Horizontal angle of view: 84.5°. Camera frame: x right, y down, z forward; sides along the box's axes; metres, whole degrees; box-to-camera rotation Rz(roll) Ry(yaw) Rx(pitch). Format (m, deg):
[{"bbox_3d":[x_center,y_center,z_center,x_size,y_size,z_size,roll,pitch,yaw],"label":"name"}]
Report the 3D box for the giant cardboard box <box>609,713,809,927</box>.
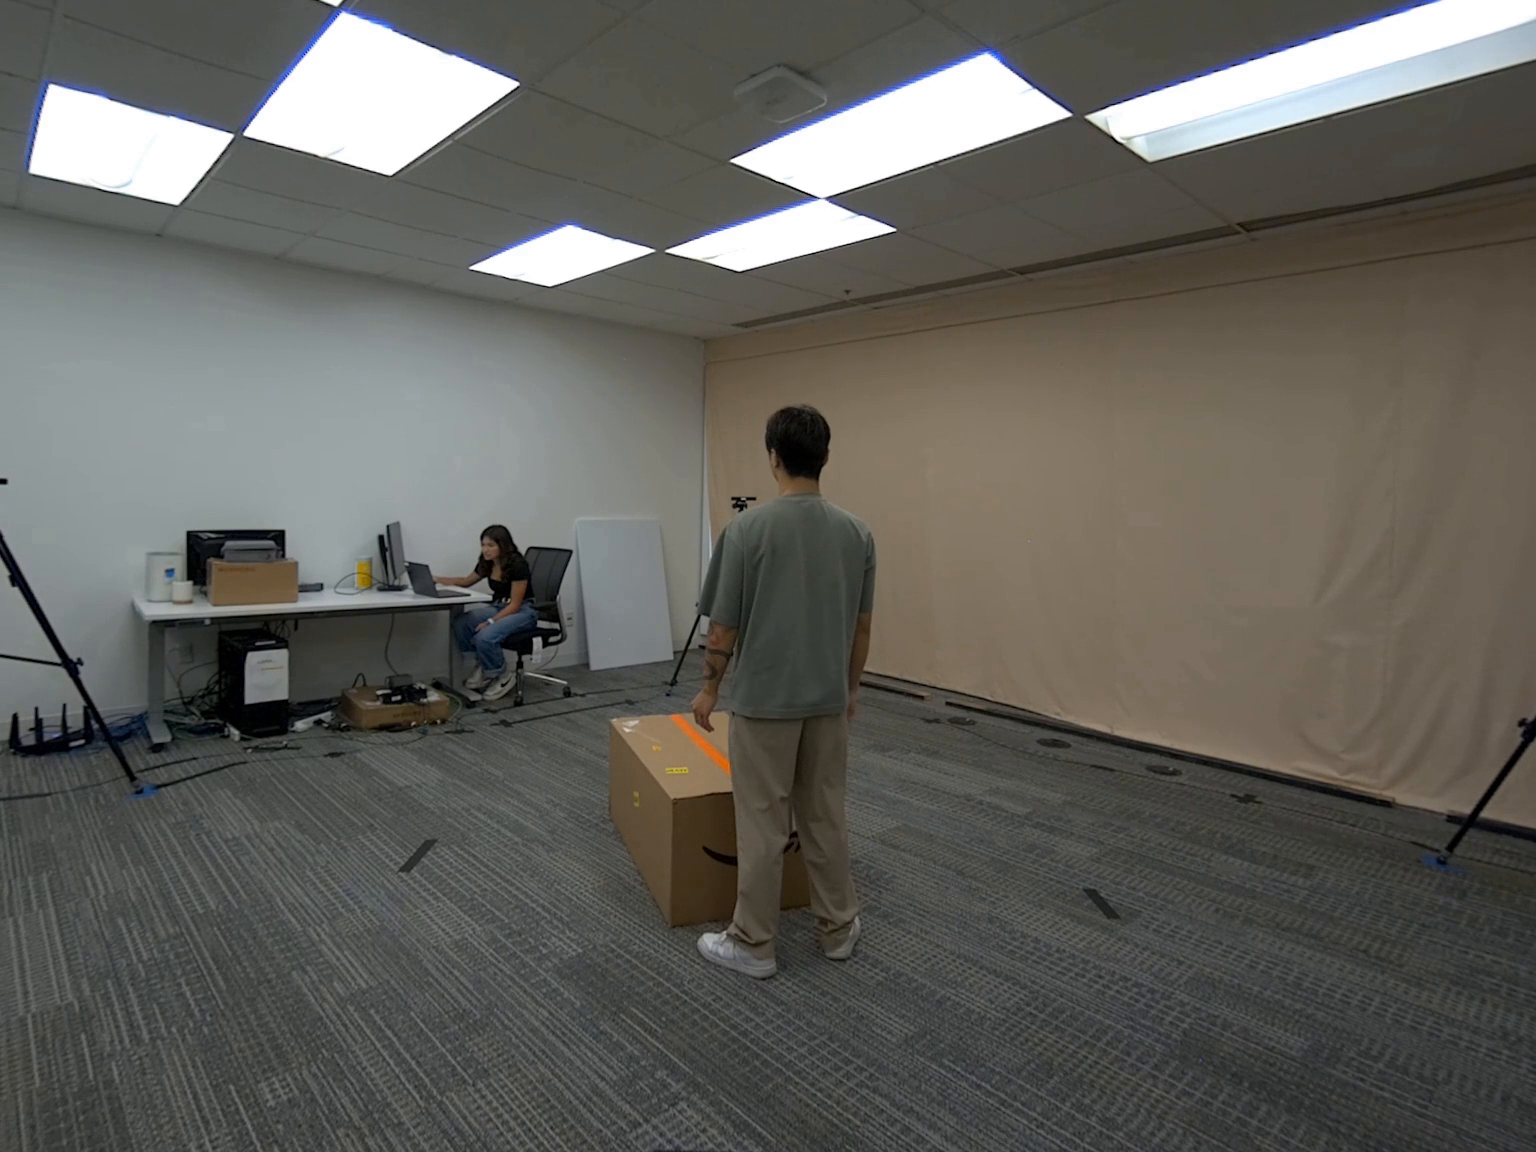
[{"bbox_3d":[-0.248,0.875,3.282,0.568,0.425,1.045,0,5,-21],"label":"giant cardboard box"}]
